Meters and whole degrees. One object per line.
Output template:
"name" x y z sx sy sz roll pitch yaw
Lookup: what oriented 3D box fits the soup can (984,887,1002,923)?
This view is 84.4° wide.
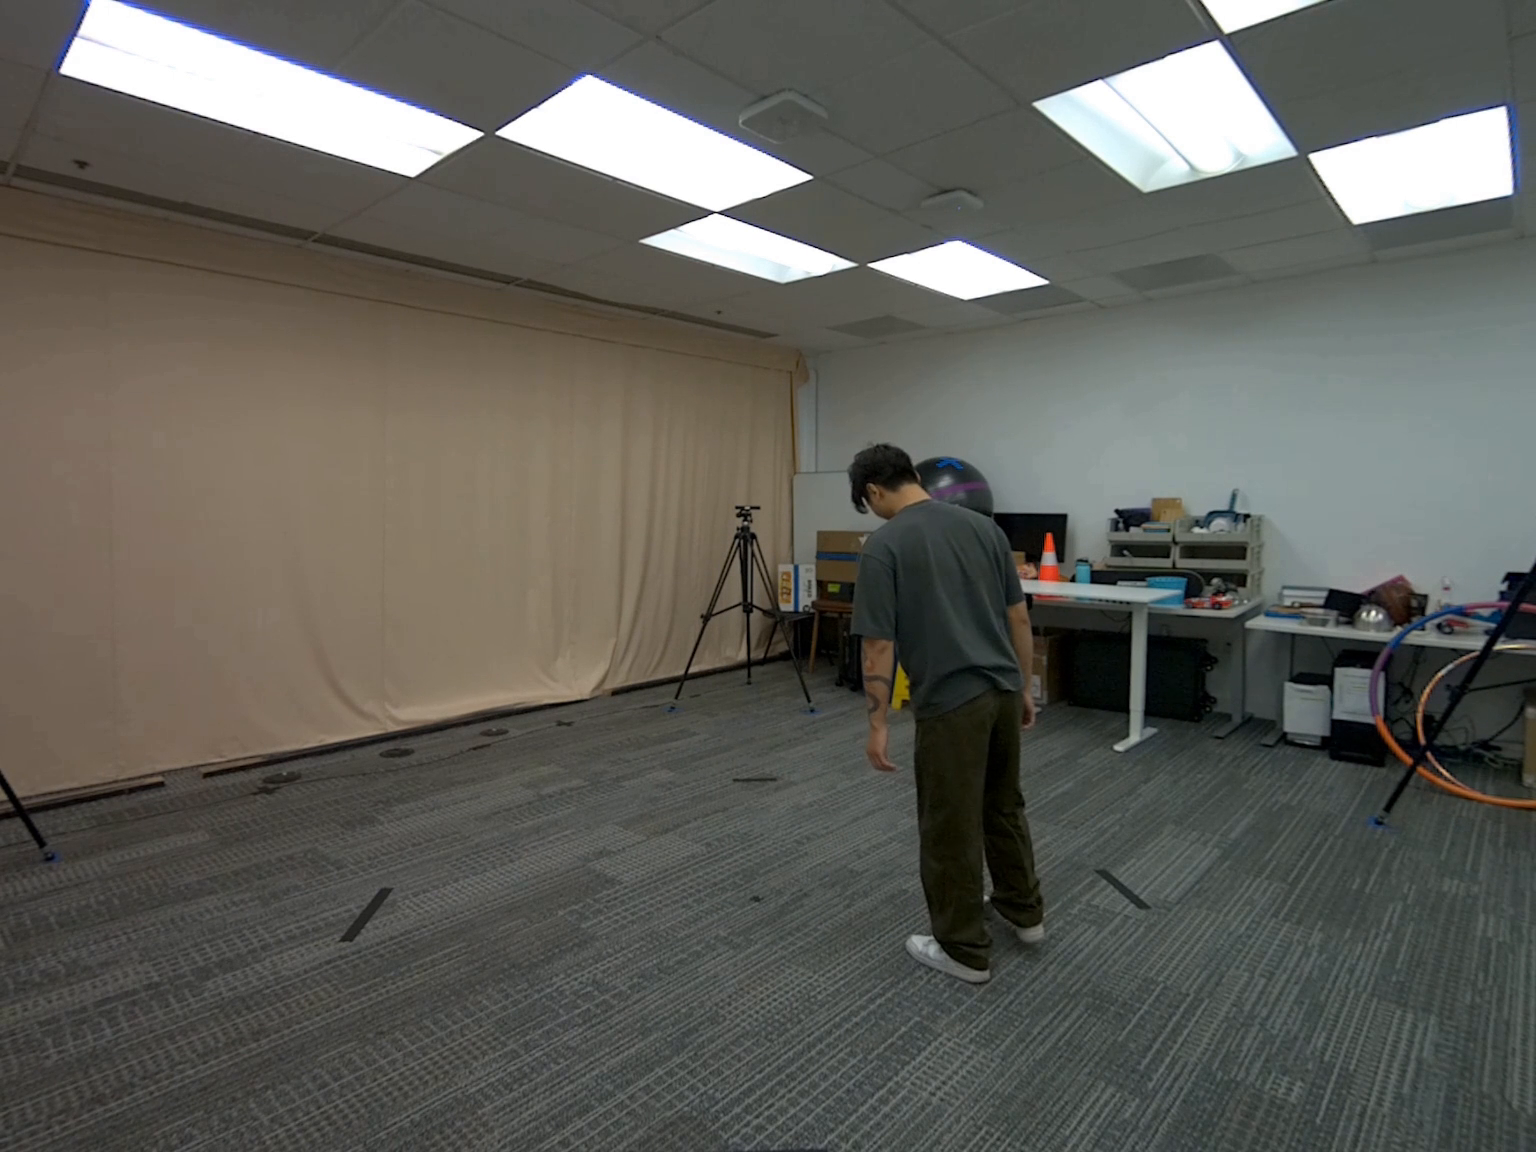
"soup can" 0.729 1.112 2.878 0.066 0.067 0.123 -1 4 -13
